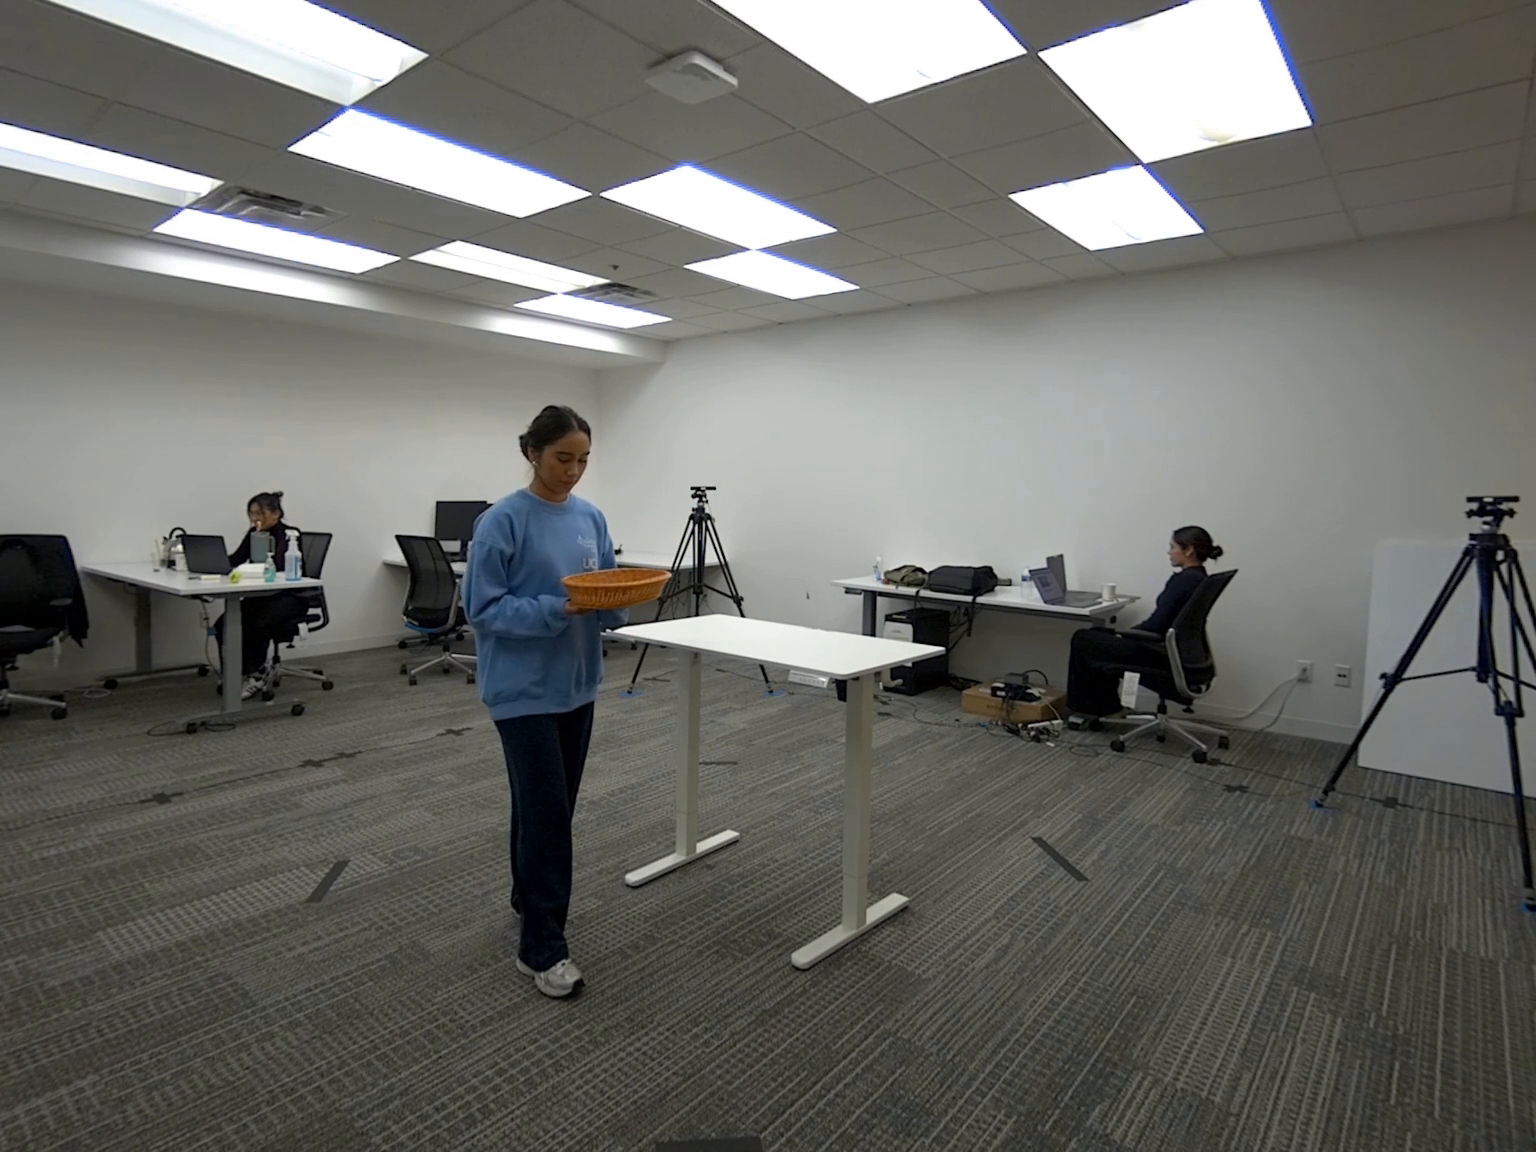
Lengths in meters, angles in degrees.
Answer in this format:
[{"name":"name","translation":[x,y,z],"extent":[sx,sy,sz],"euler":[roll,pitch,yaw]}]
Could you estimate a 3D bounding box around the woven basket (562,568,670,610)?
[{"name":"woven basket","translation":[-0.454,0.035,2.379],"extent":[0.261,0.073,0.341],"euler":[6,10,40]}]
